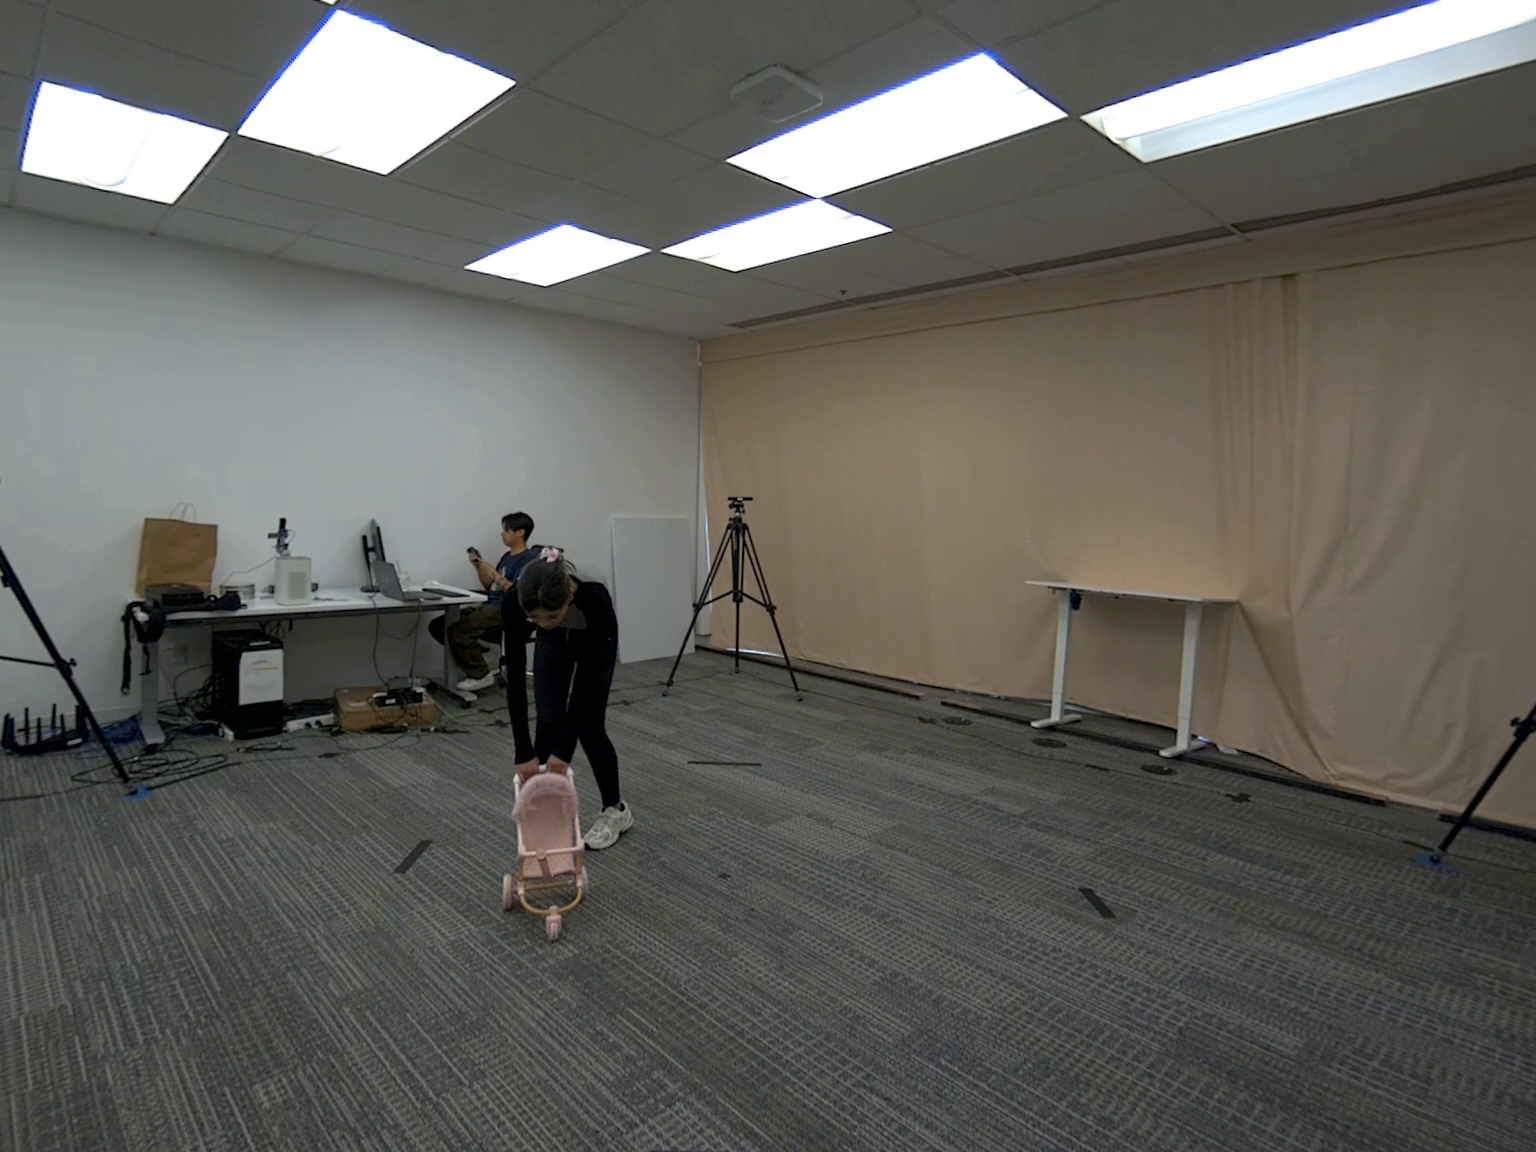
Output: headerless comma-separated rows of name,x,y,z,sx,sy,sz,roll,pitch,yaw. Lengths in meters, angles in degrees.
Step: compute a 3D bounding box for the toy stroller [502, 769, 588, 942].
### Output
toy stroller,-0.738,0.898,2.795,0.278,0.540,0.342,-1,-12,-17
